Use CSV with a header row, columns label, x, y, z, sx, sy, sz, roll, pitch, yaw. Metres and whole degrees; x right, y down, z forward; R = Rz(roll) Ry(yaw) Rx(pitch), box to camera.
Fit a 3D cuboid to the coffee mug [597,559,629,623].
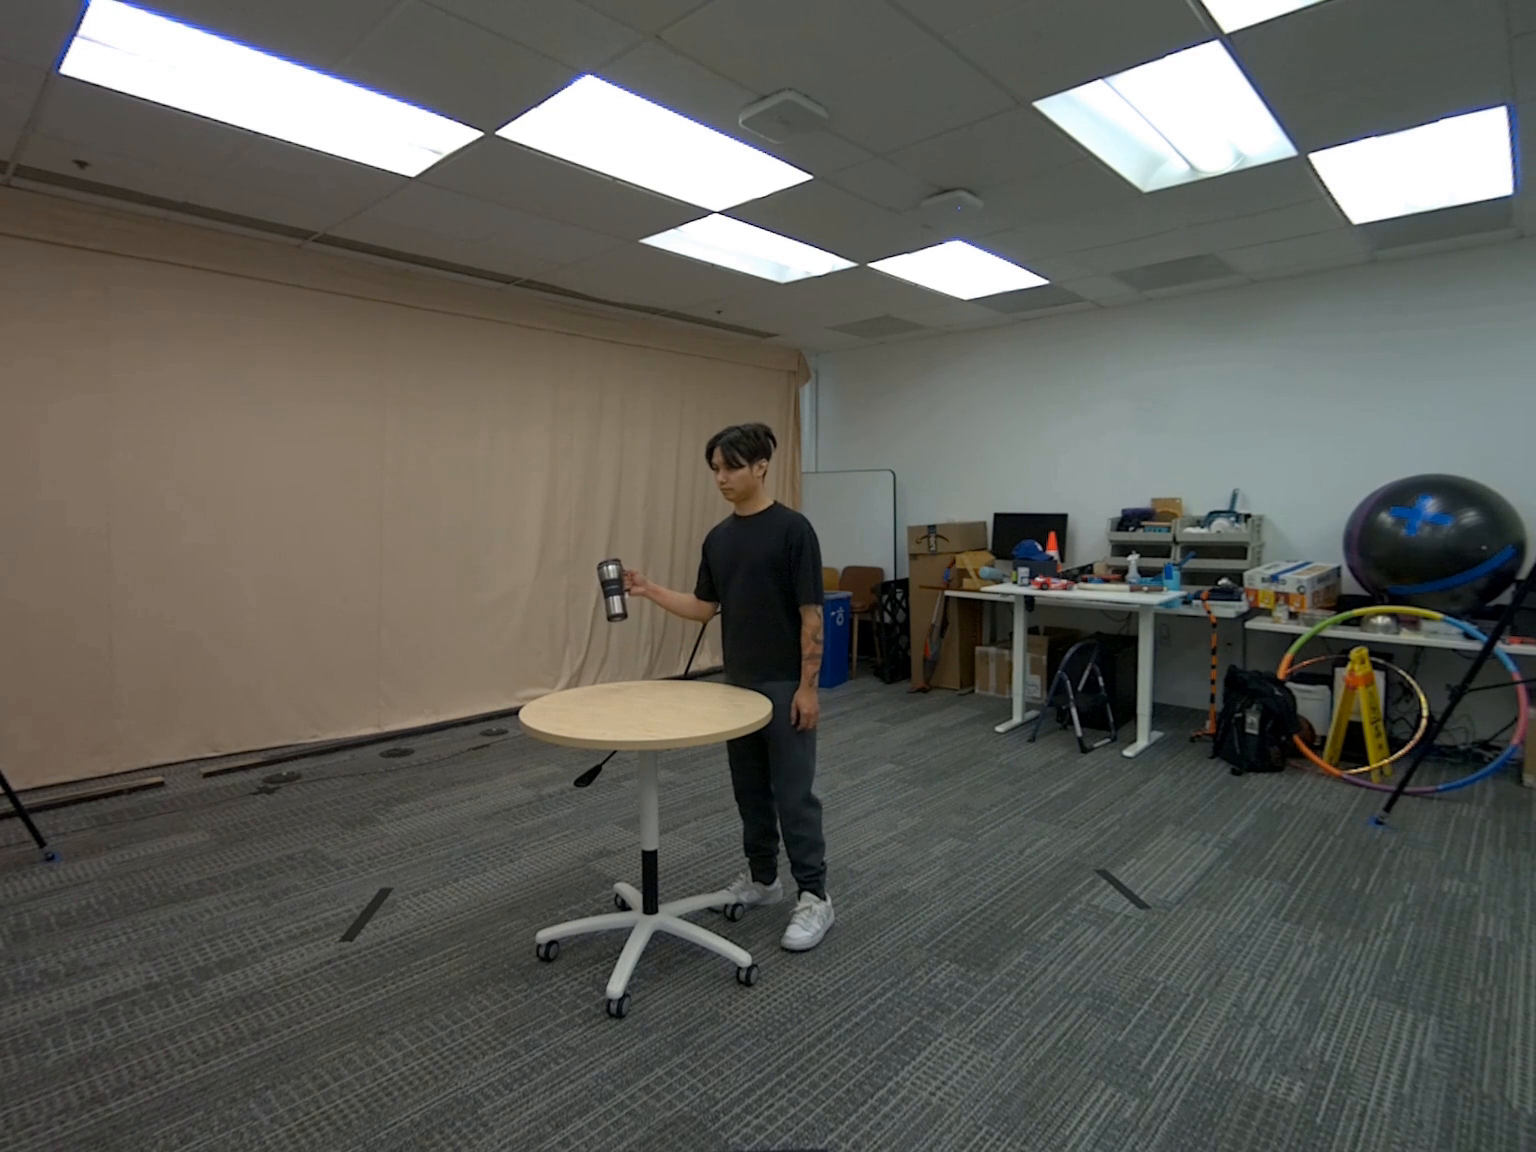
label,x,y,z,sx,sy,sz,roll,pitch,yaw
coffee mug,-0.500,0.057,2.871,0.118,0.206,0.089,-3,-20,-41
